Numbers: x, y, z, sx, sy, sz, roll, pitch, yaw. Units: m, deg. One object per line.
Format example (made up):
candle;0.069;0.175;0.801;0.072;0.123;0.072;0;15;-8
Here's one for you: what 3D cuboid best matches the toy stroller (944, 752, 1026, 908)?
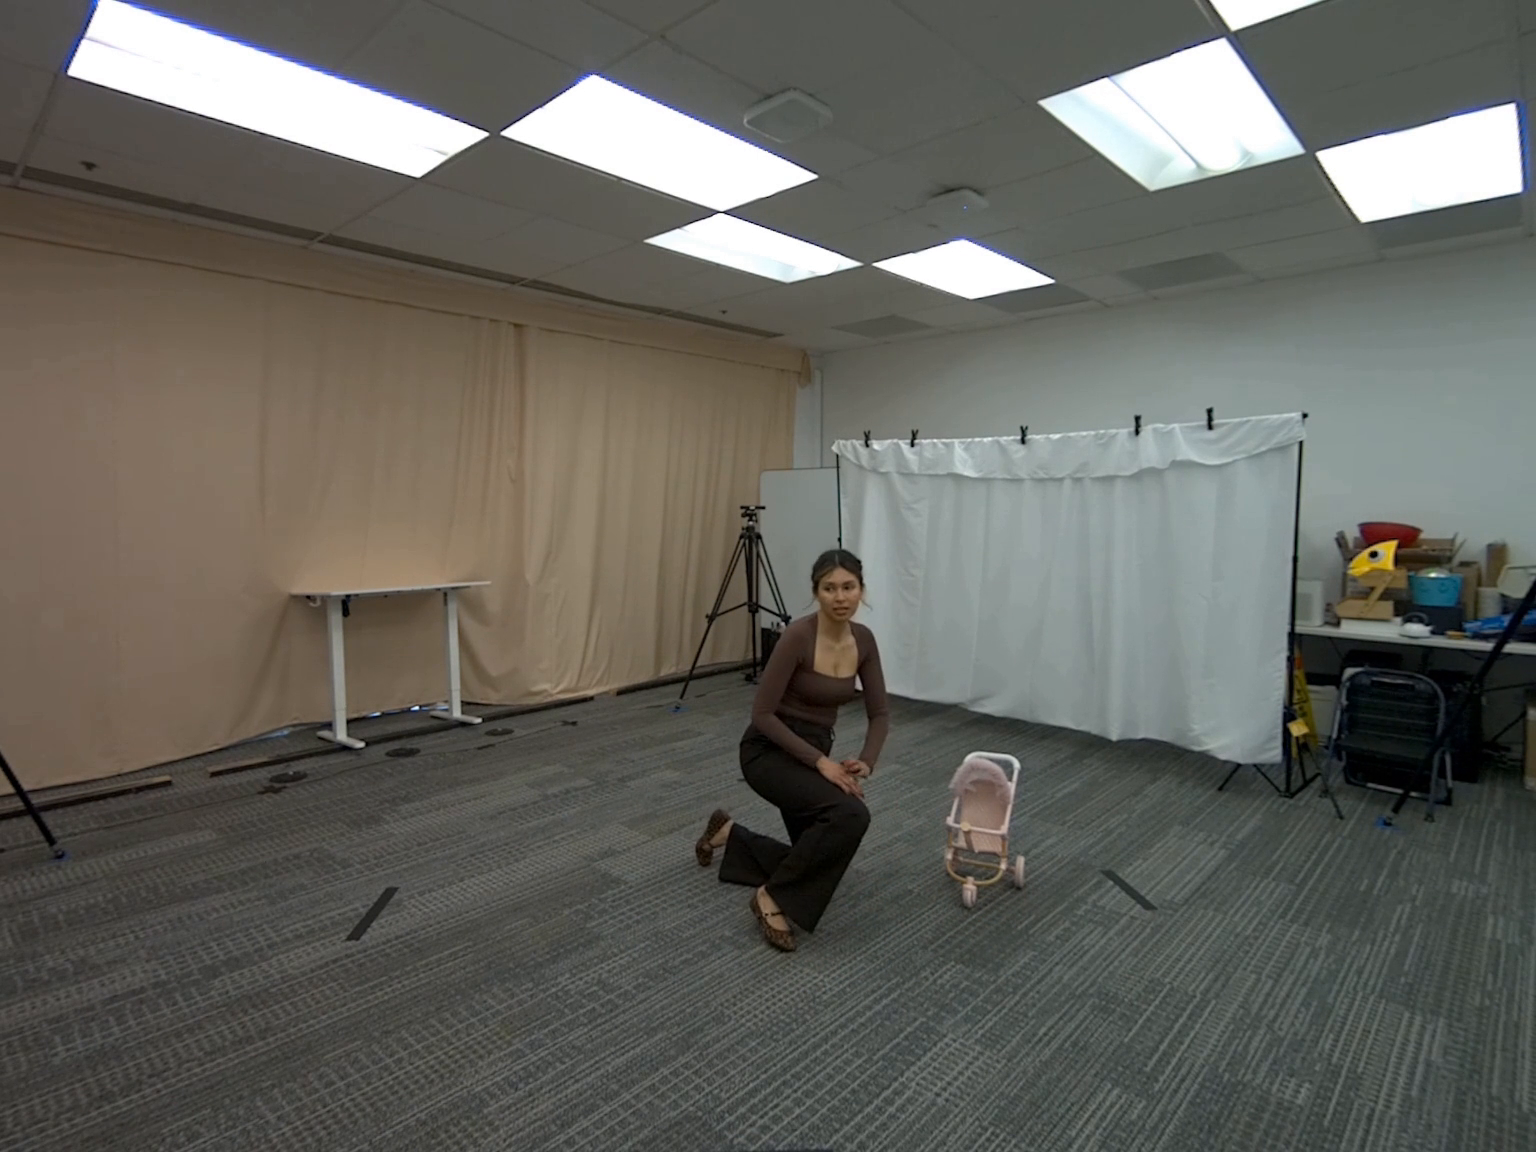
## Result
toy stroller;0.771;0.905;3.068;0.289;0.538;0.330;0;-13;31
